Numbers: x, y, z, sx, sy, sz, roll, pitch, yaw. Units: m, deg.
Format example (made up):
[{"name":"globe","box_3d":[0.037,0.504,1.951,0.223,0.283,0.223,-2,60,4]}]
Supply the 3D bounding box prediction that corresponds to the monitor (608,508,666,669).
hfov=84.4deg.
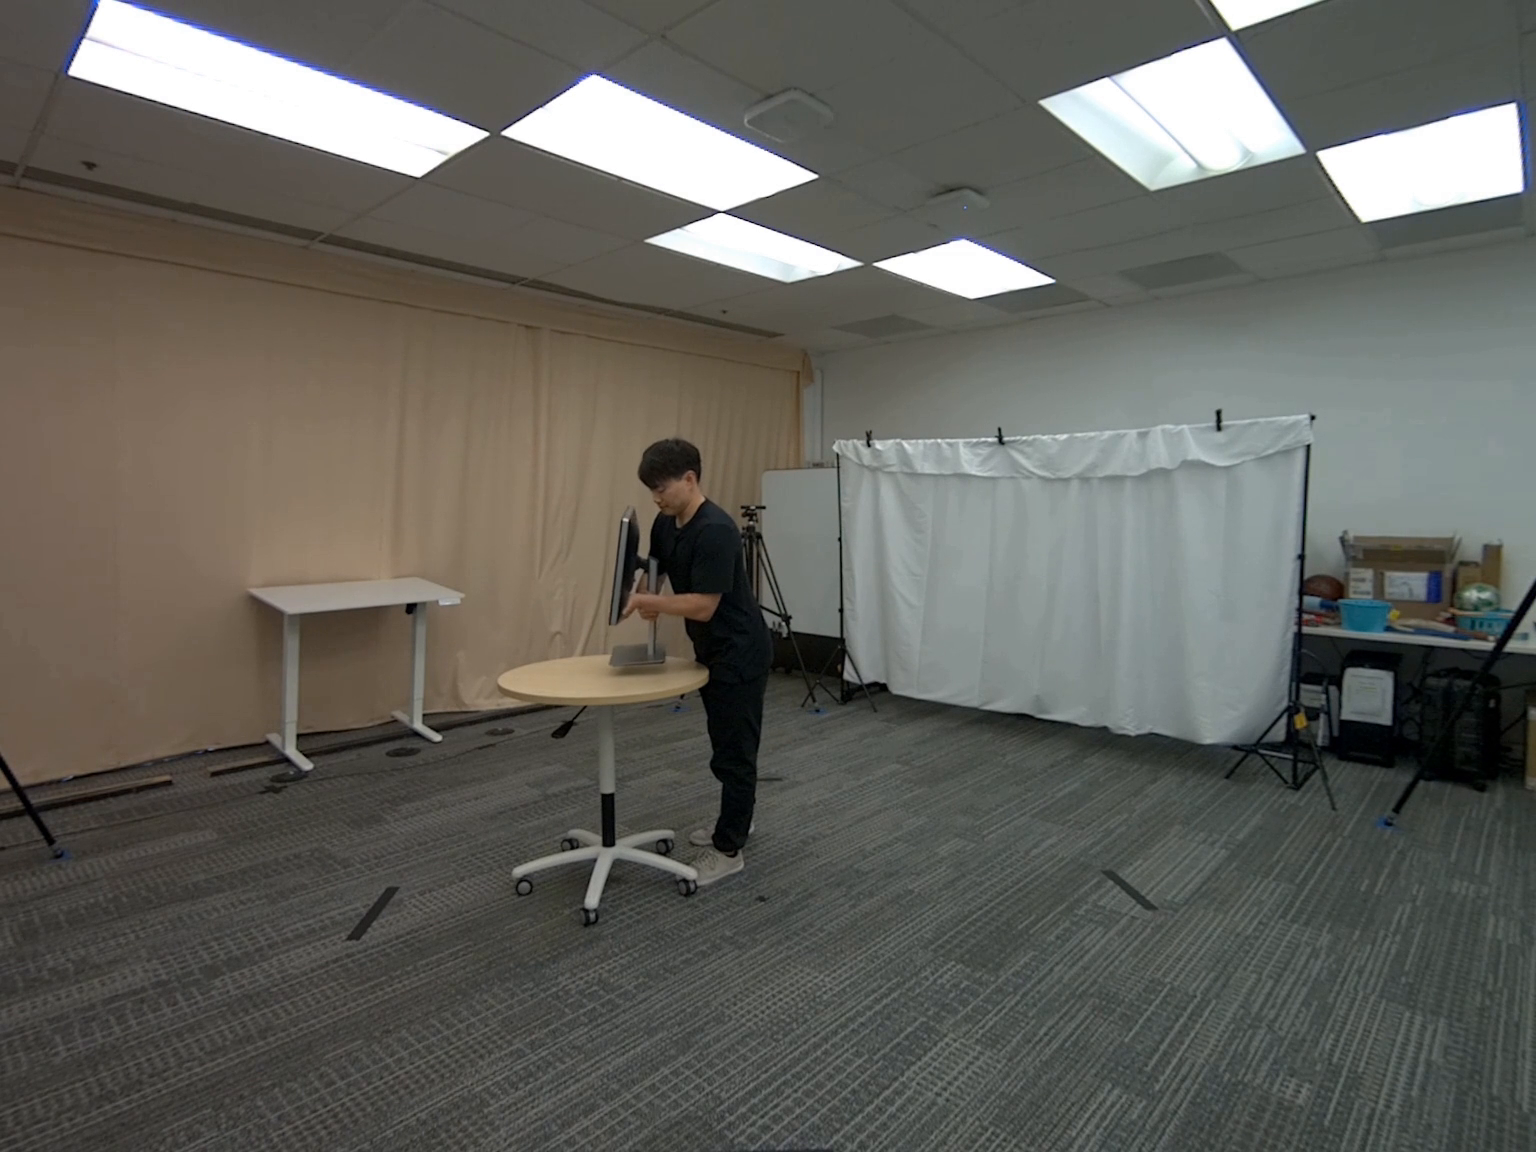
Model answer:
[{"name":"monitor","box_3d":[-0.481,0.046,3.096,0.186,0.520,0.545,-4,8,-7]}]
